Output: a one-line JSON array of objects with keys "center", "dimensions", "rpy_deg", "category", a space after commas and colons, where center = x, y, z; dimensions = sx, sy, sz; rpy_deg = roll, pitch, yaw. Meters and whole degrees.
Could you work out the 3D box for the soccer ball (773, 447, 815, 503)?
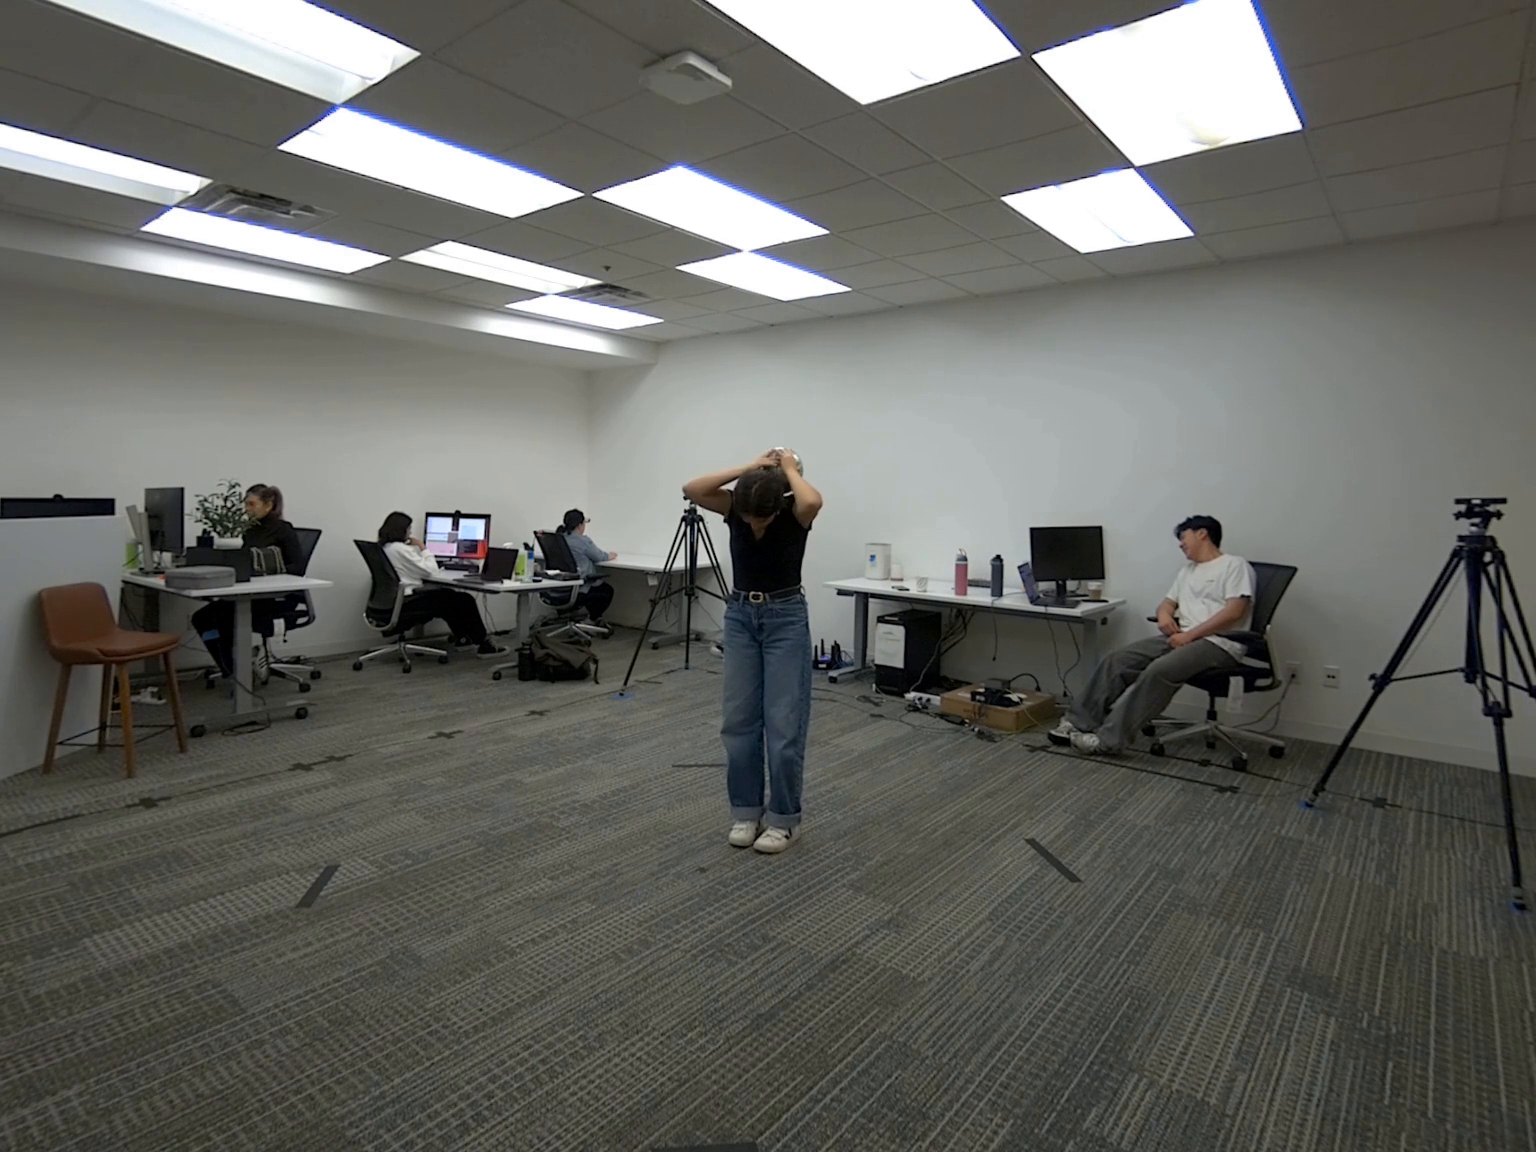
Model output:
[{"center": [0.047, -0.420, 3.356], "dimensions": [0.187, 0.187, 0.188], "rpy_deg": [1, 4, -2], "category": "soccer ball"}]
